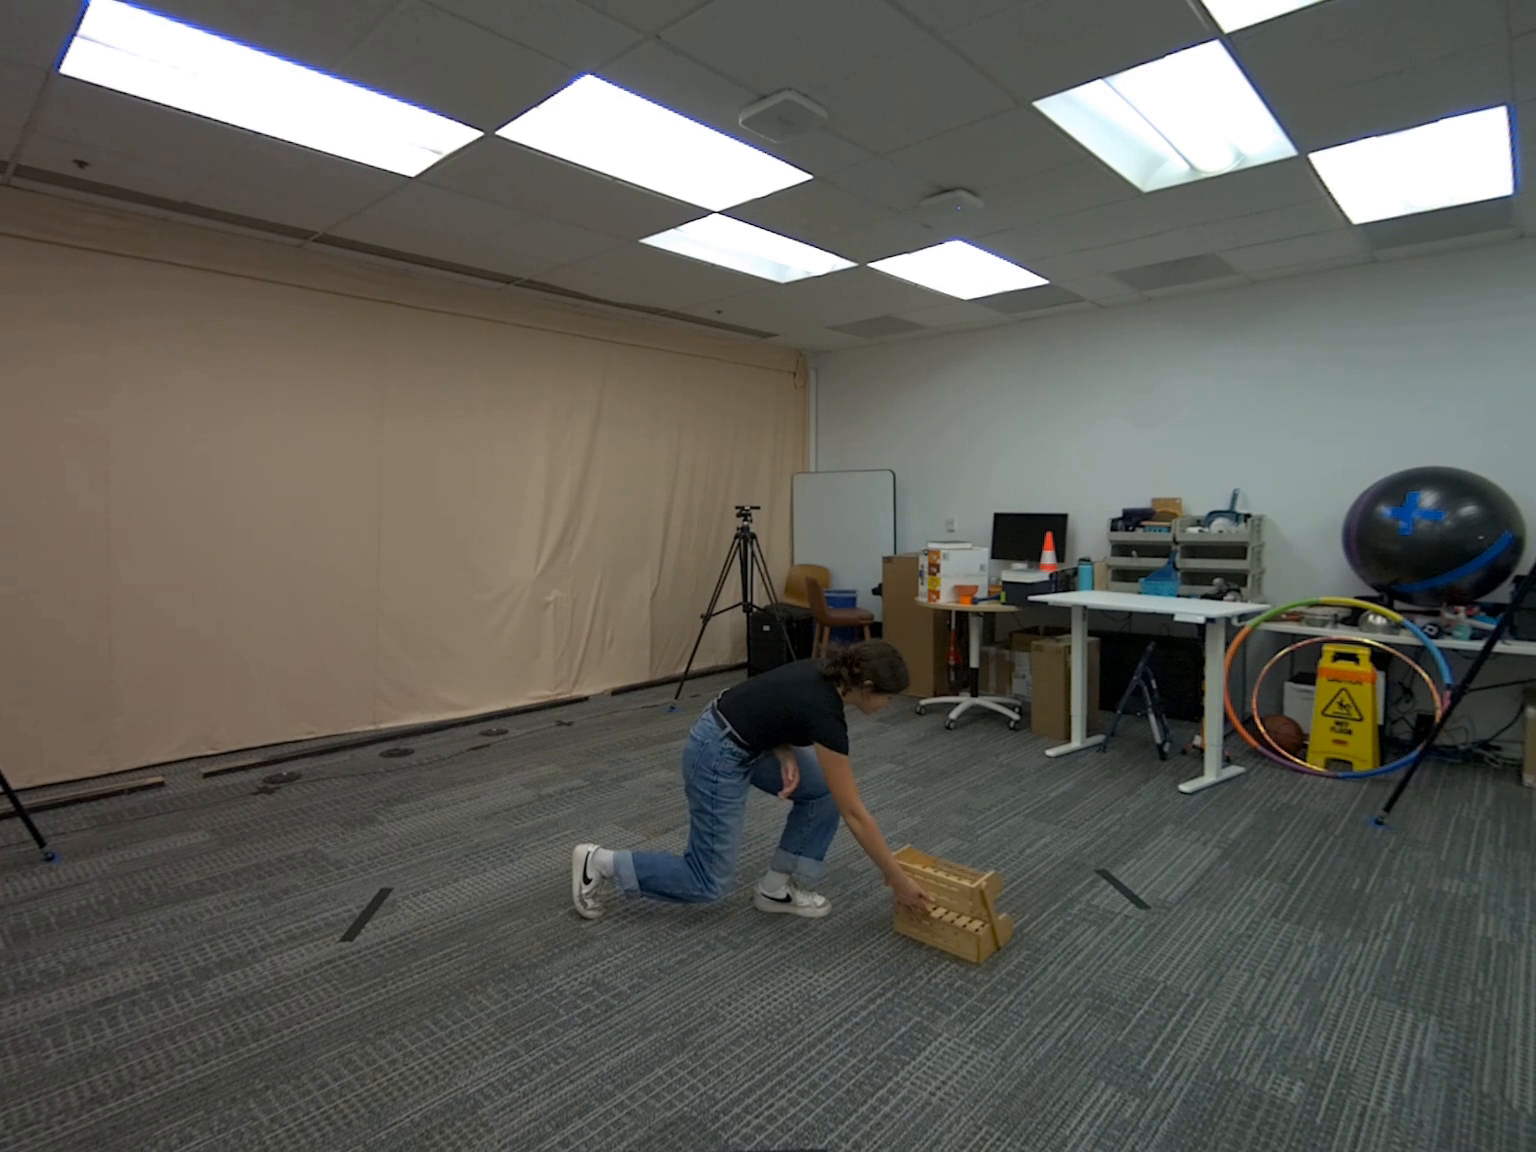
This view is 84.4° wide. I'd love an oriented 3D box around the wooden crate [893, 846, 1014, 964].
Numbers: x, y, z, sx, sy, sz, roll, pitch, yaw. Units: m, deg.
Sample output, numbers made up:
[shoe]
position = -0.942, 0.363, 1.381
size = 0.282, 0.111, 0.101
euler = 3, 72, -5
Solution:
[wooden crate]
position = 0.599, 1.035, 2.715
size = 0.335, 0.272, 0.293
euler = 3, 6, 40
